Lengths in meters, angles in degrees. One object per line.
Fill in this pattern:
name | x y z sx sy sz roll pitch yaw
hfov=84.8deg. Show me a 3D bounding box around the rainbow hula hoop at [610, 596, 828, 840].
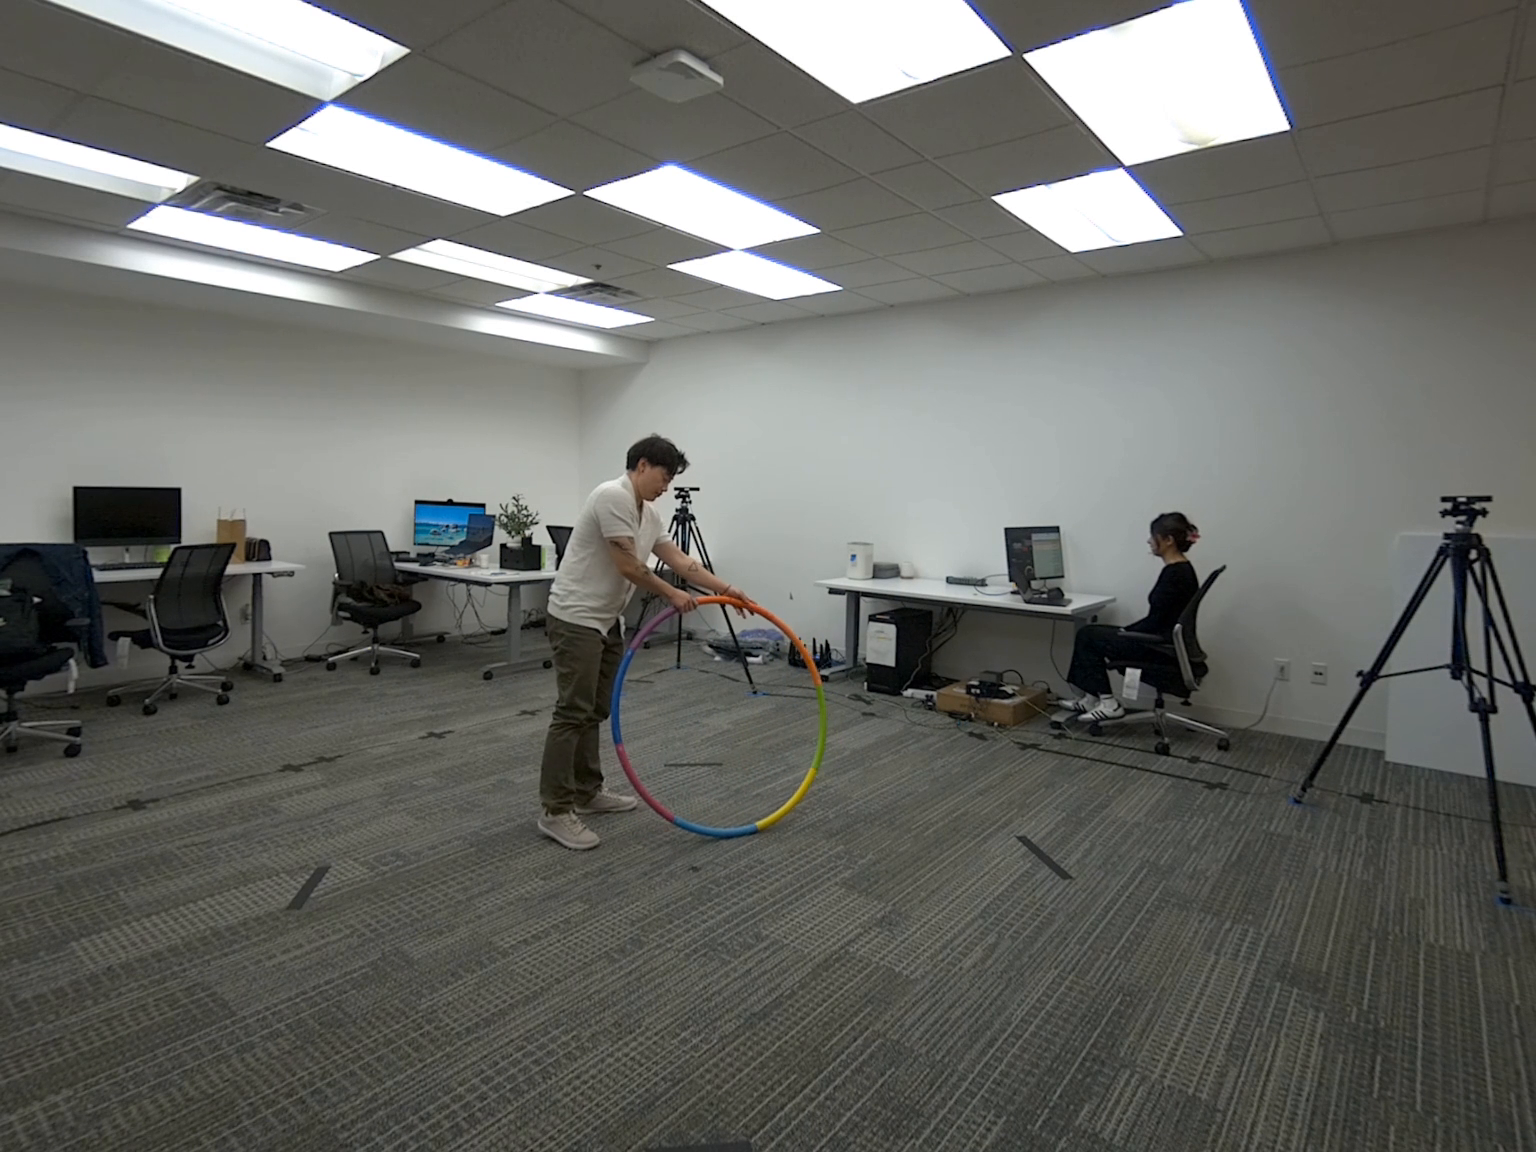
rainbow hula hoop | -0.181 0.565 3.520 0.954 0.994 0.036 -2 -16 -27
